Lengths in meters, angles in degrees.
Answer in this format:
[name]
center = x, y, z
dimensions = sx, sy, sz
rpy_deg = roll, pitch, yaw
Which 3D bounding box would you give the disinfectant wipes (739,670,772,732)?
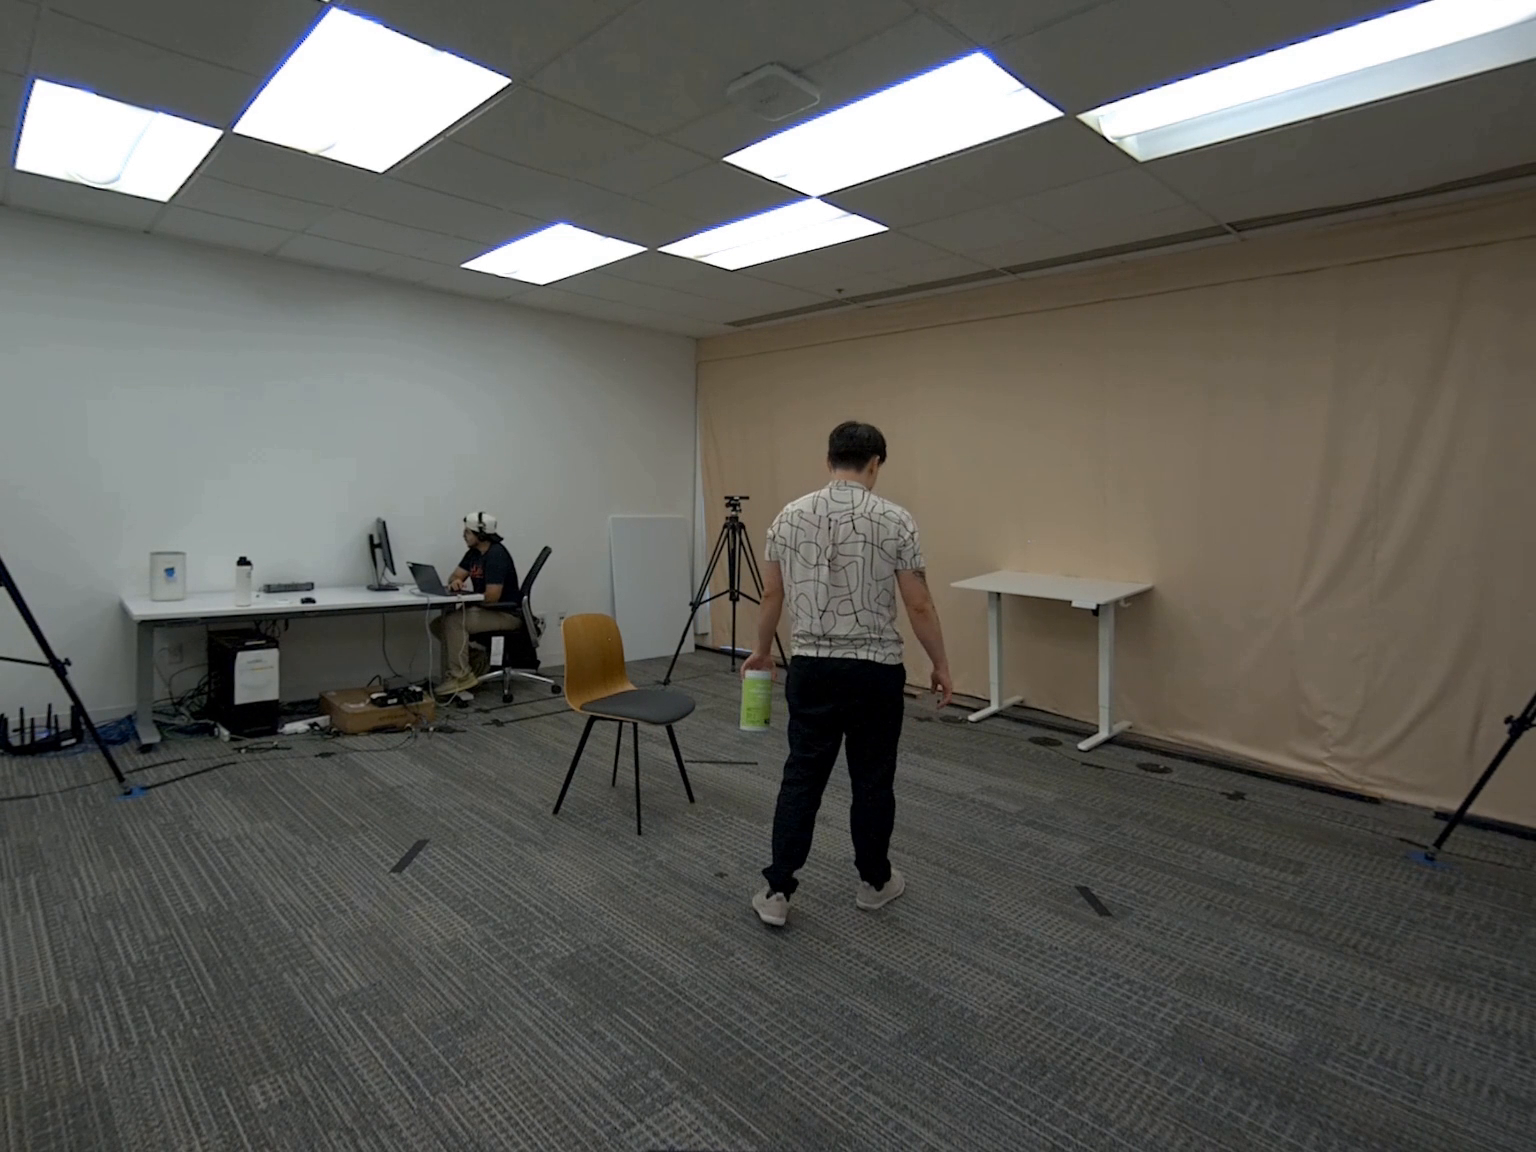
[disinfectant wipes]
center = -0.047, 0.449, 3.037
dimensions = 0.118, 0.218, 0.117
rpy_deg = 4, -4, -1
